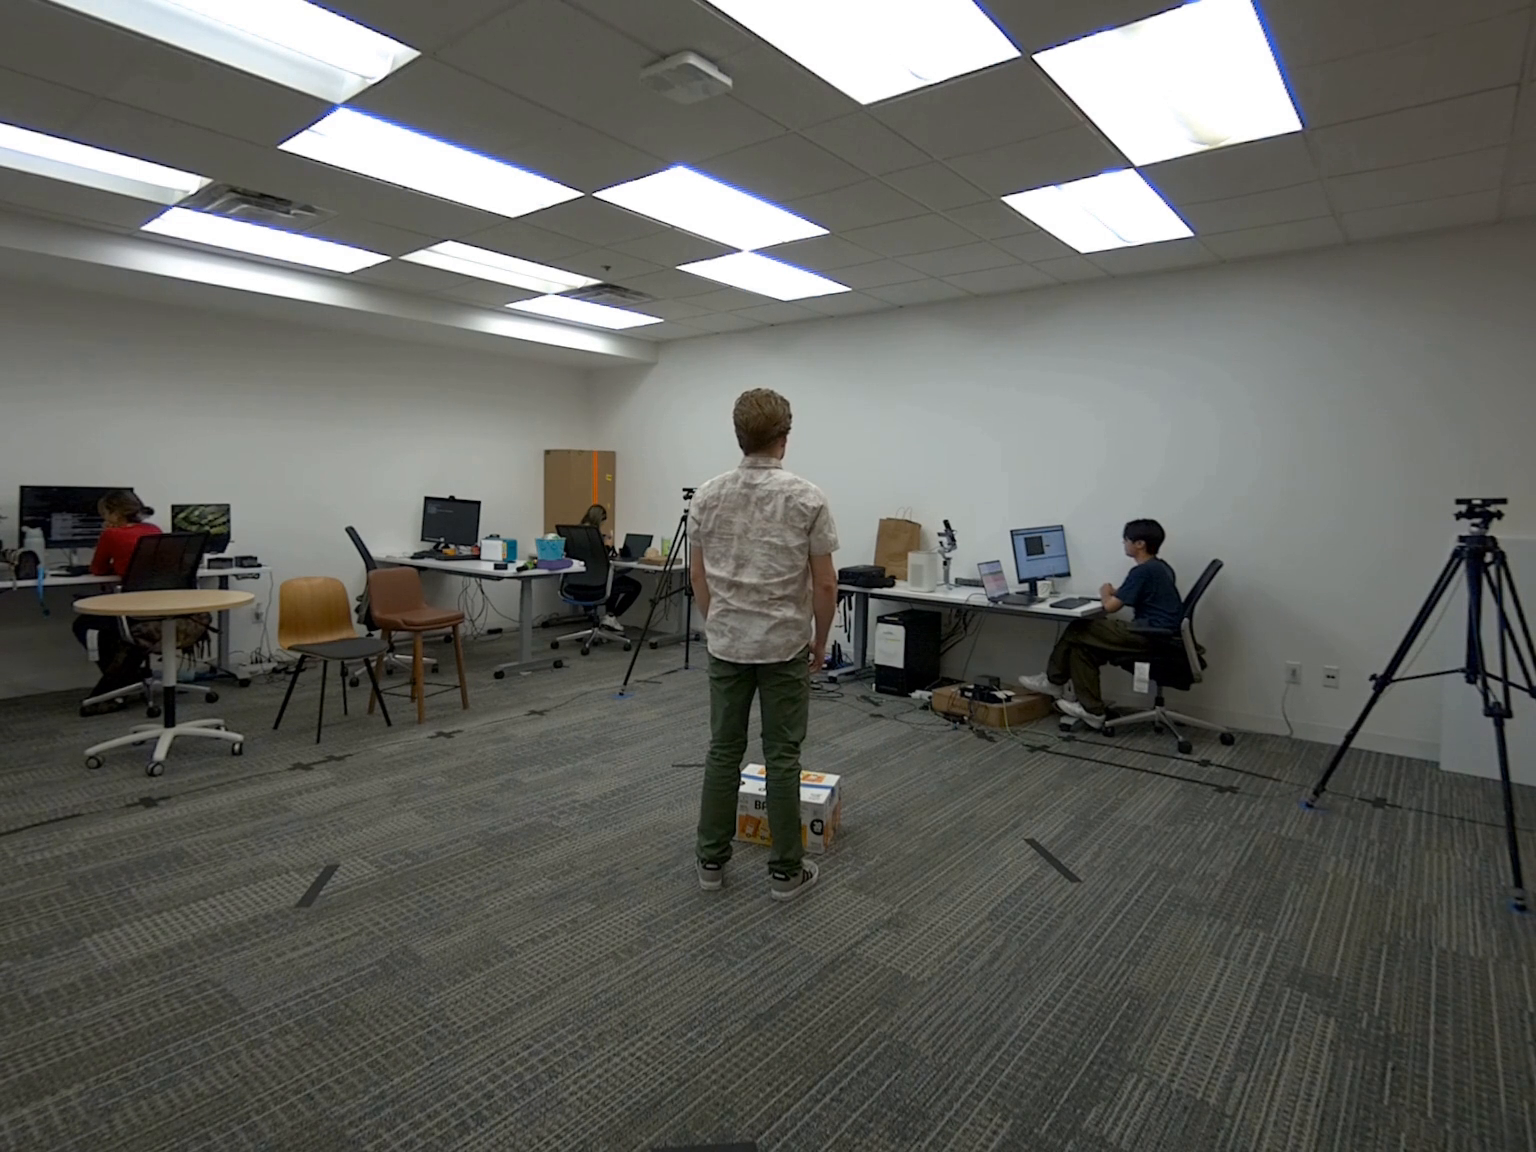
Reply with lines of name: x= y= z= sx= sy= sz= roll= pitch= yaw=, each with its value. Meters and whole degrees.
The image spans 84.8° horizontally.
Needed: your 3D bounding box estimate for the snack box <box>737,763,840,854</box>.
snack box: x=0.057 y=0.939 z=3.474 sx=0.413 sy=0.205 sz=0.335 roll=3 pitch=5 yaw=17
